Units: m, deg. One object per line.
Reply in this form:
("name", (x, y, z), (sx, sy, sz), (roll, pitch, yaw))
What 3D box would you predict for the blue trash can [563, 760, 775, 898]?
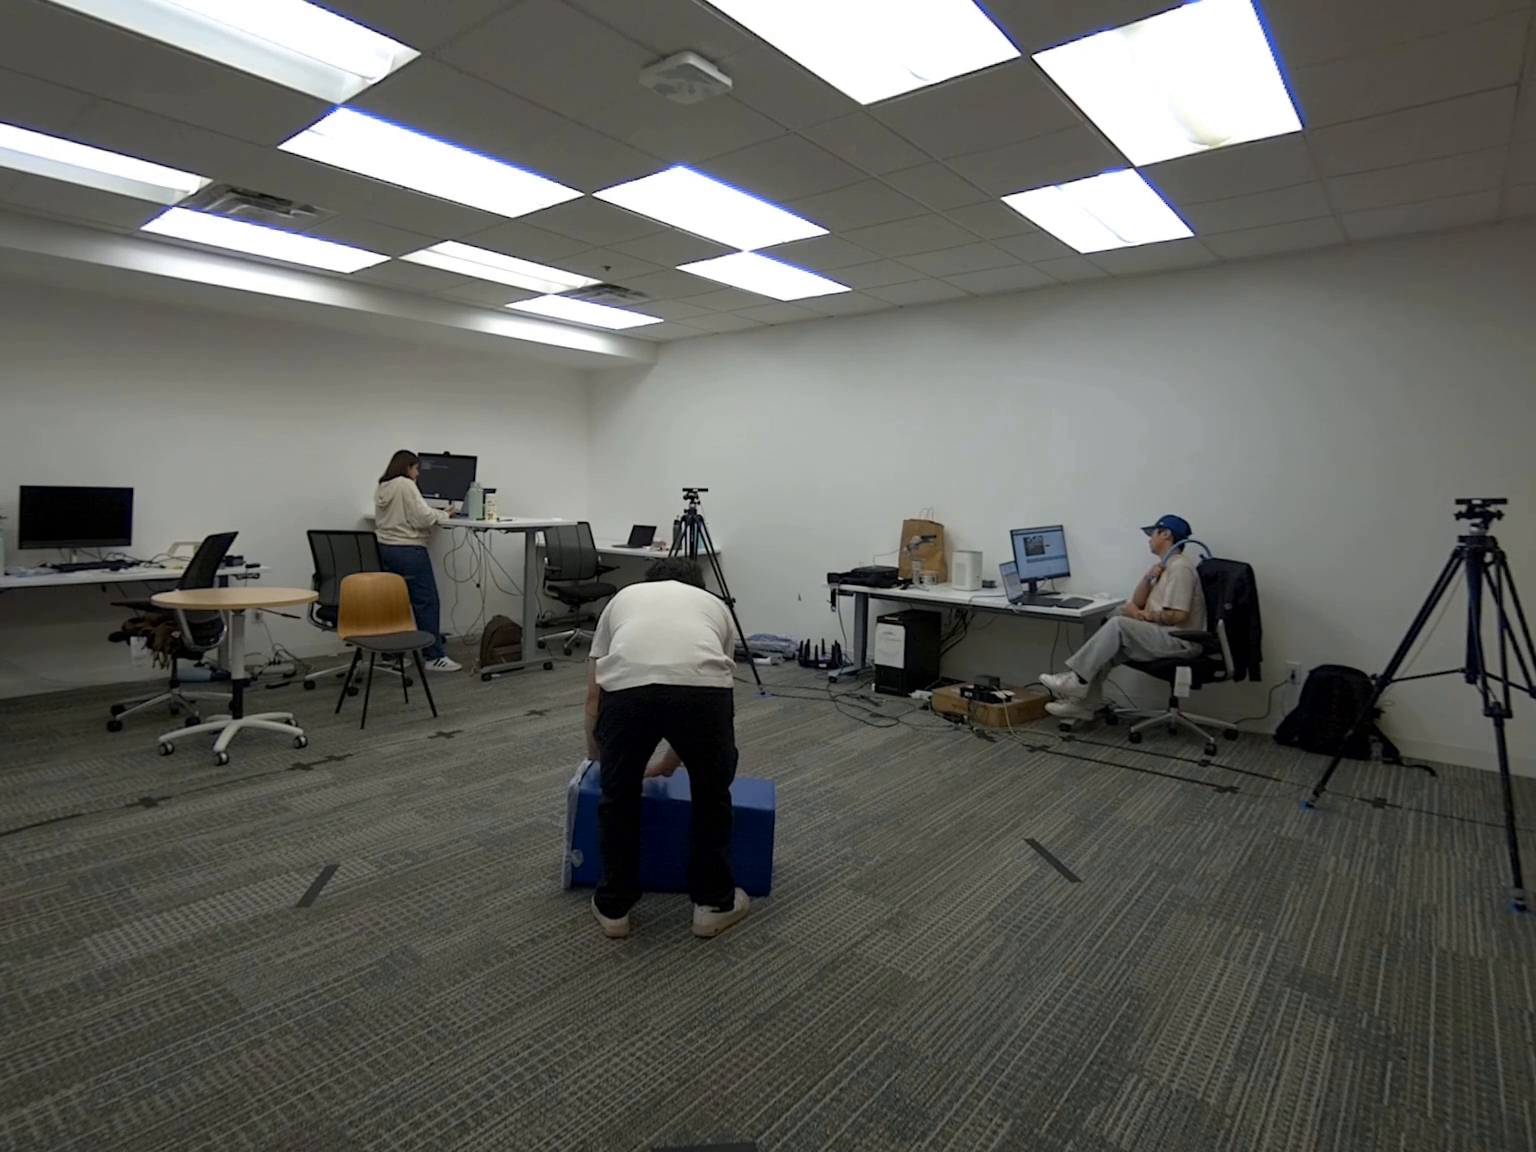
("blue trash can", (-0.352, 0.898, 3.067), (0.715, 0.377, 0.374), (4, 3, 2))
